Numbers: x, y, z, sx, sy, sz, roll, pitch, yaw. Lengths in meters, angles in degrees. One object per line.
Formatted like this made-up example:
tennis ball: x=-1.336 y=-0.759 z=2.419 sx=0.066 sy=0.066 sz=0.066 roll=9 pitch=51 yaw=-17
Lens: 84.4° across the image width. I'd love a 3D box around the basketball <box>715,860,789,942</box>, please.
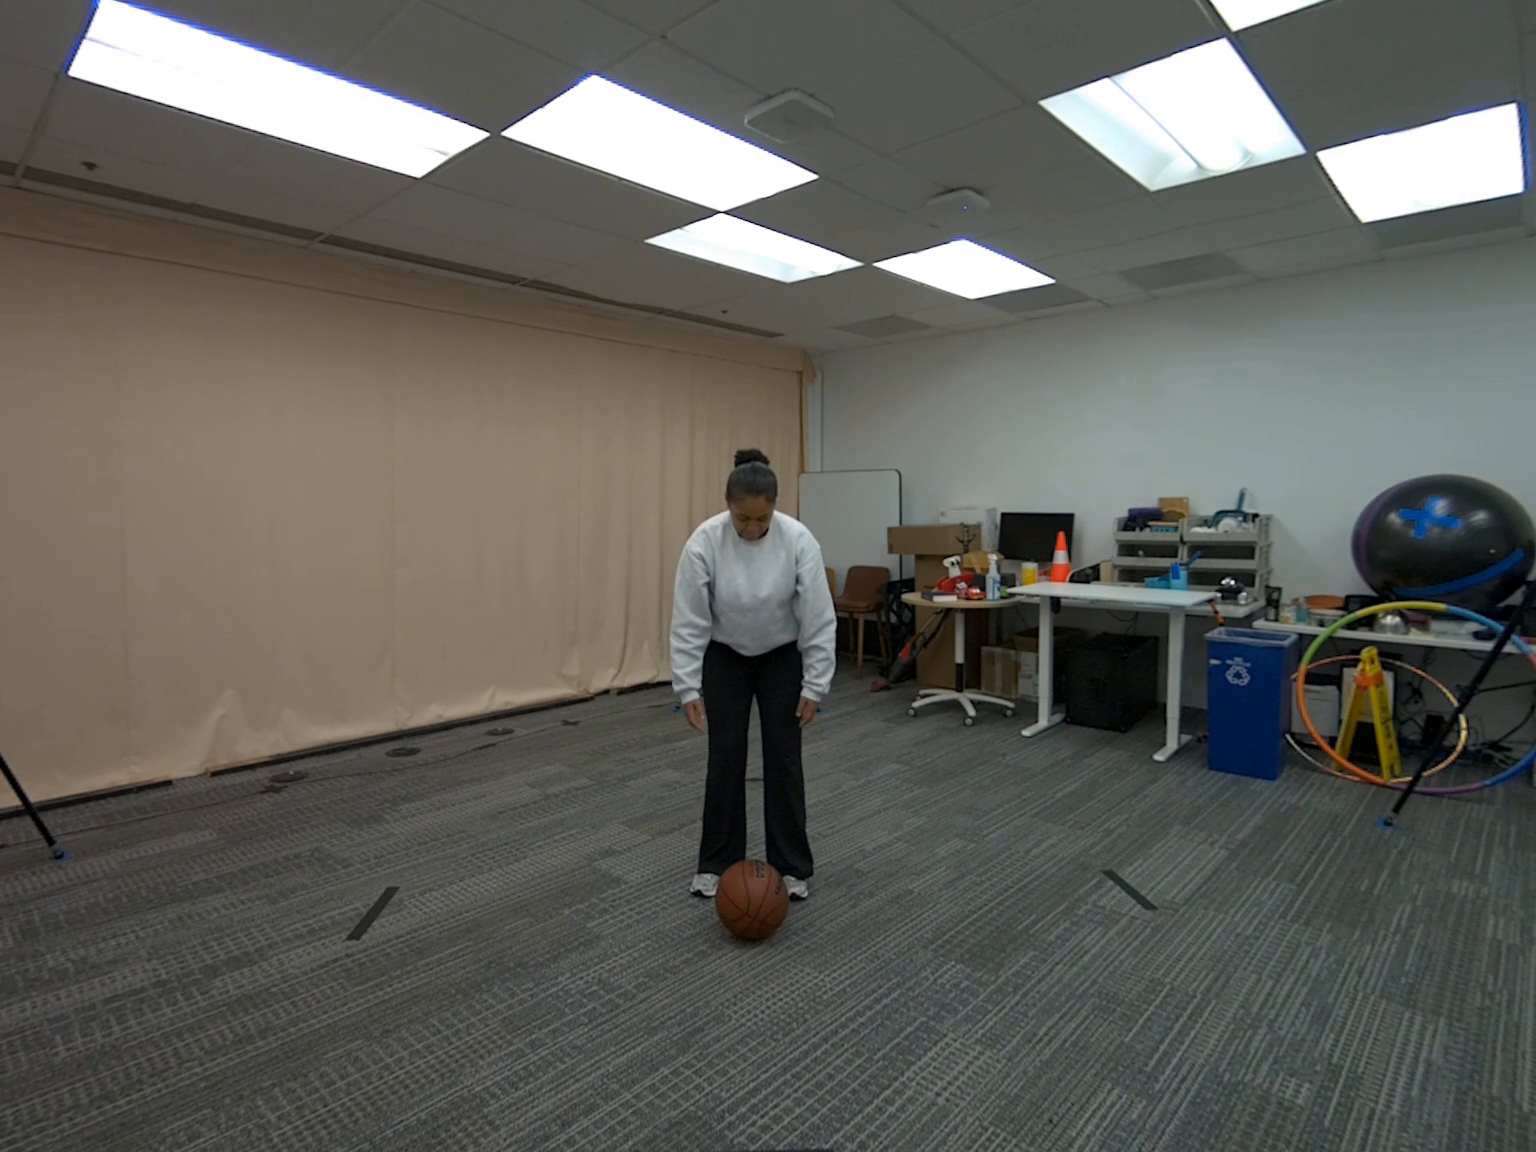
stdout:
basketball: x=-0.052 y=1.039 z=2.727 sx=0.236 sy=0.235 sz=0.237 roll=0 pitch=4 yaw=-2
